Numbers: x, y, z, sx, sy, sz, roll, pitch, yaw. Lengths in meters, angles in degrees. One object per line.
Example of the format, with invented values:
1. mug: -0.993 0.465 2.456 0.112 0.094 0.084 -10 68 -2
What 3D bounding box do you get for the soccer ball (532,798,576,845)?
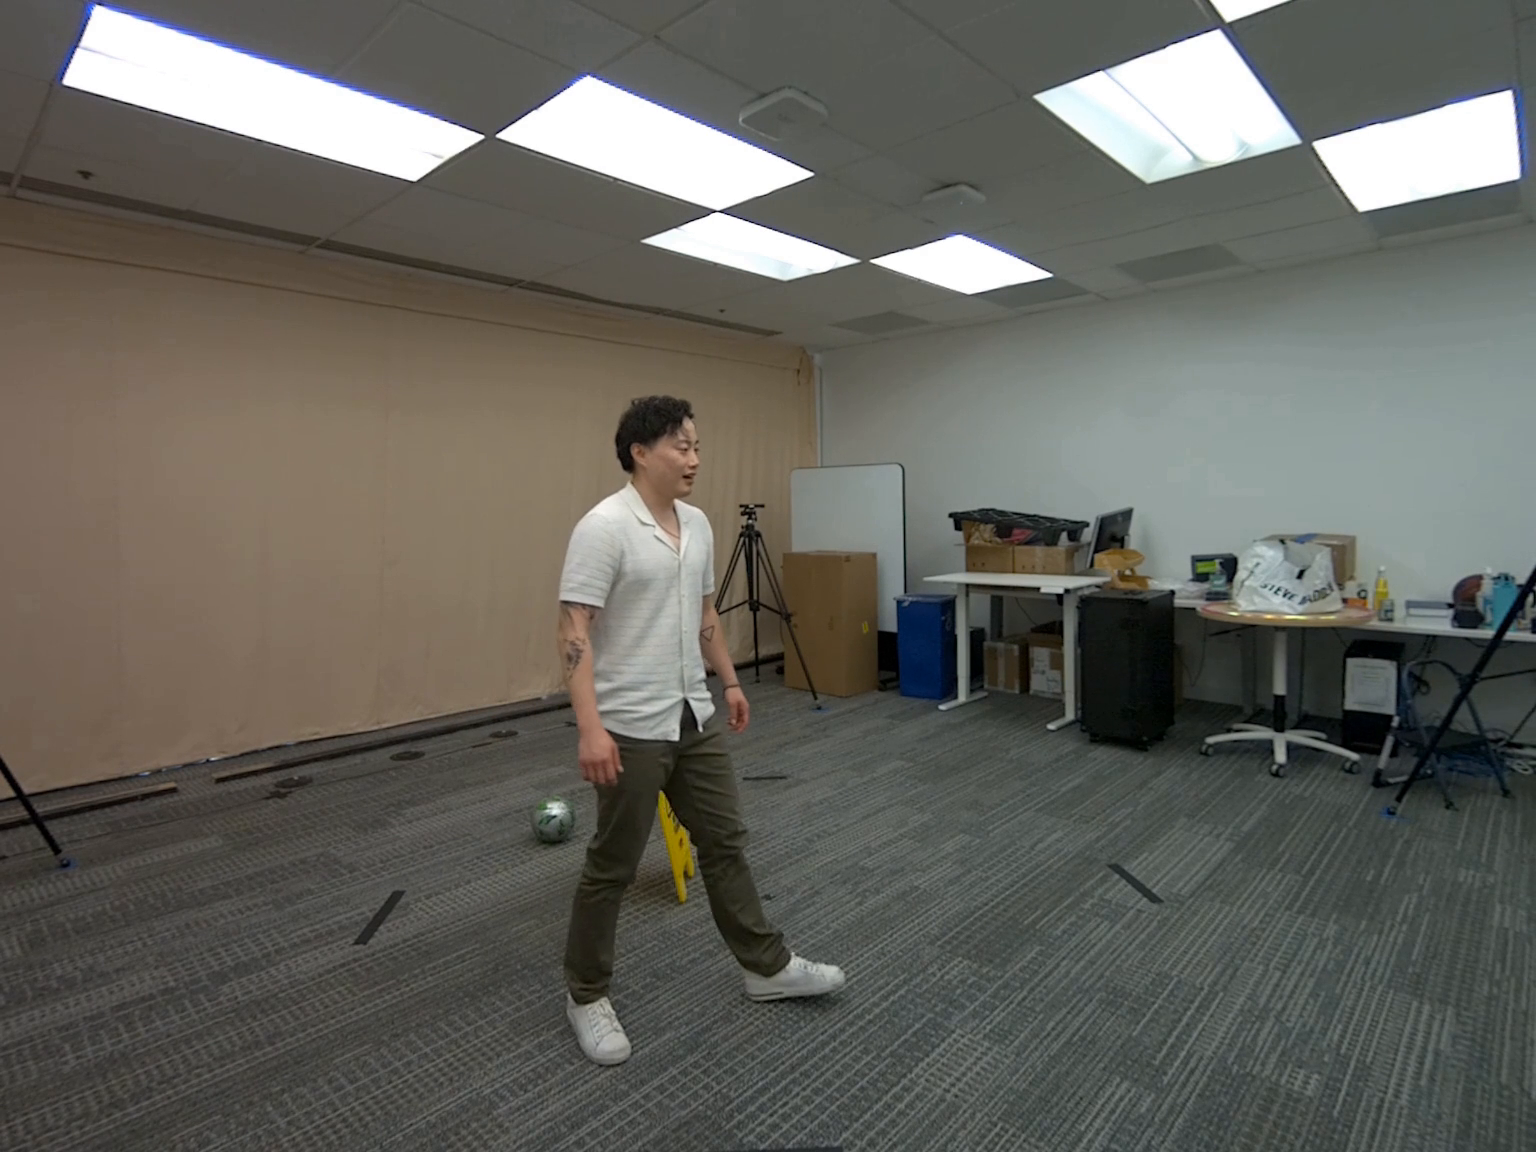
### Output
1. soccer ball: -0.902 1.027 3.538 0.187 0.187 0.188 -1 4 -2
